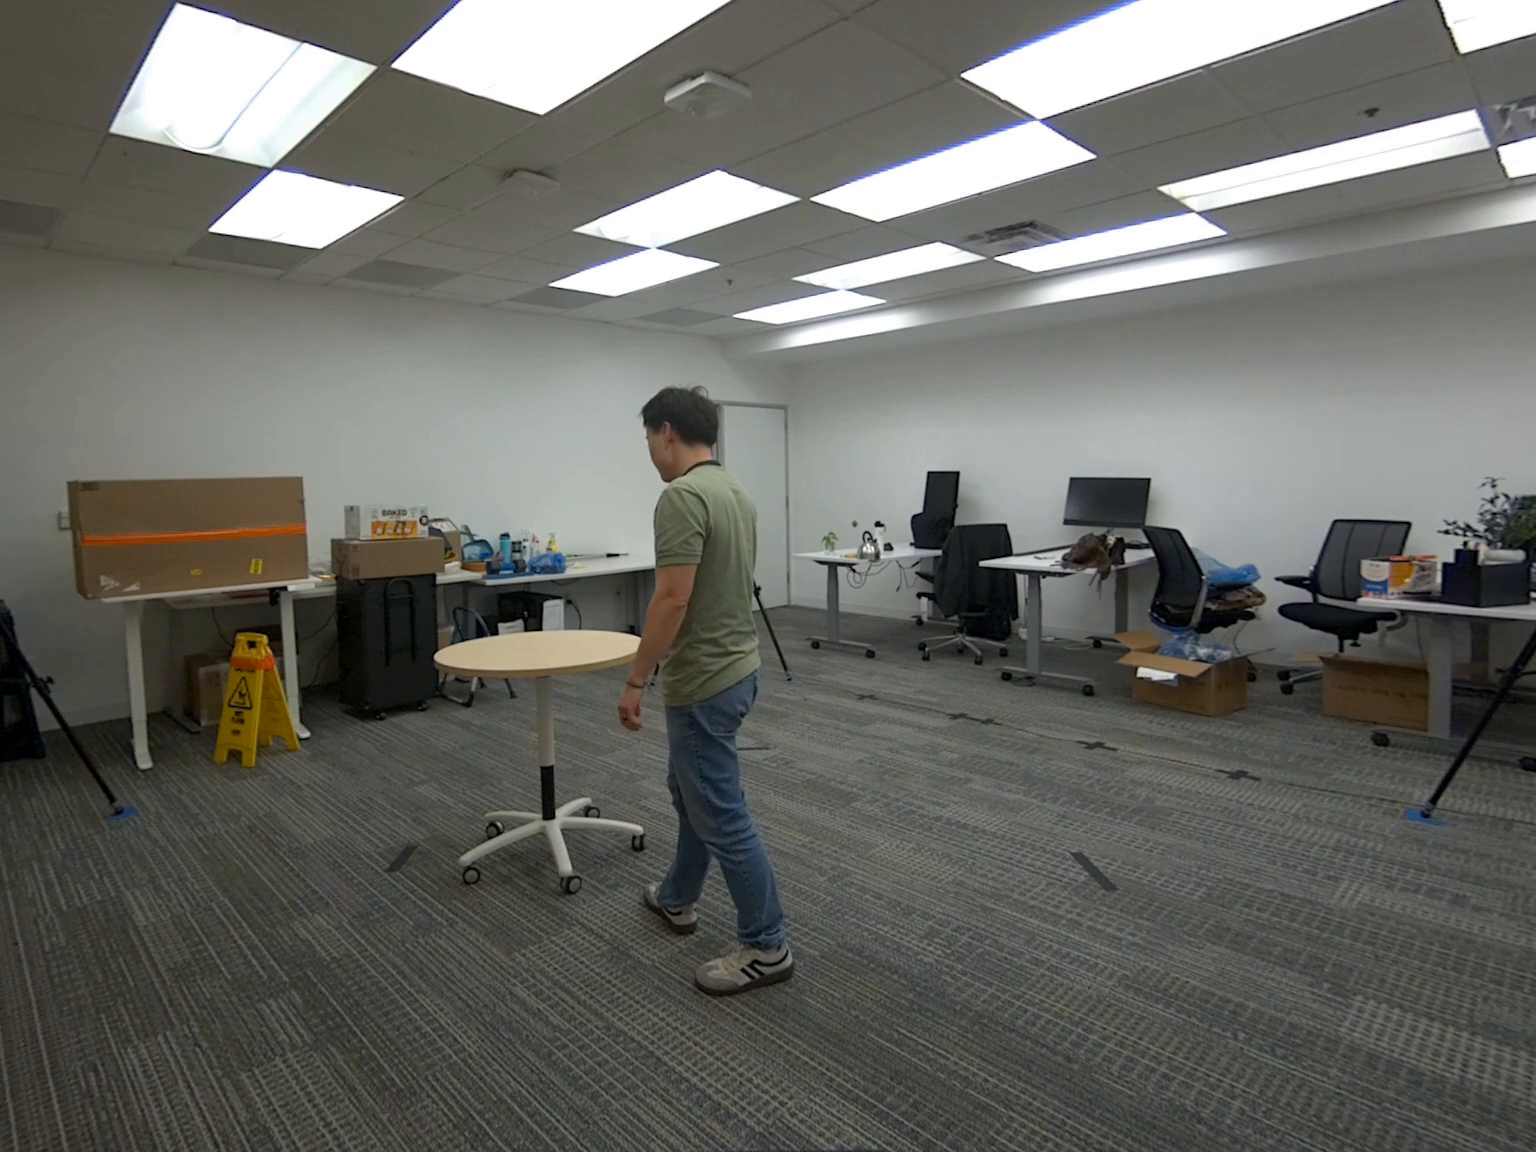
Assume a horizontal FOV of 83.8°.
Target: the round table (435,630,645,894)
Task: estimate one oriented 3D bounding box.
[{"bbox_3d":[-0.821,0.660,3.185,0.763,0.791,0.767,-2,4,-2],"label":"round table"}]
